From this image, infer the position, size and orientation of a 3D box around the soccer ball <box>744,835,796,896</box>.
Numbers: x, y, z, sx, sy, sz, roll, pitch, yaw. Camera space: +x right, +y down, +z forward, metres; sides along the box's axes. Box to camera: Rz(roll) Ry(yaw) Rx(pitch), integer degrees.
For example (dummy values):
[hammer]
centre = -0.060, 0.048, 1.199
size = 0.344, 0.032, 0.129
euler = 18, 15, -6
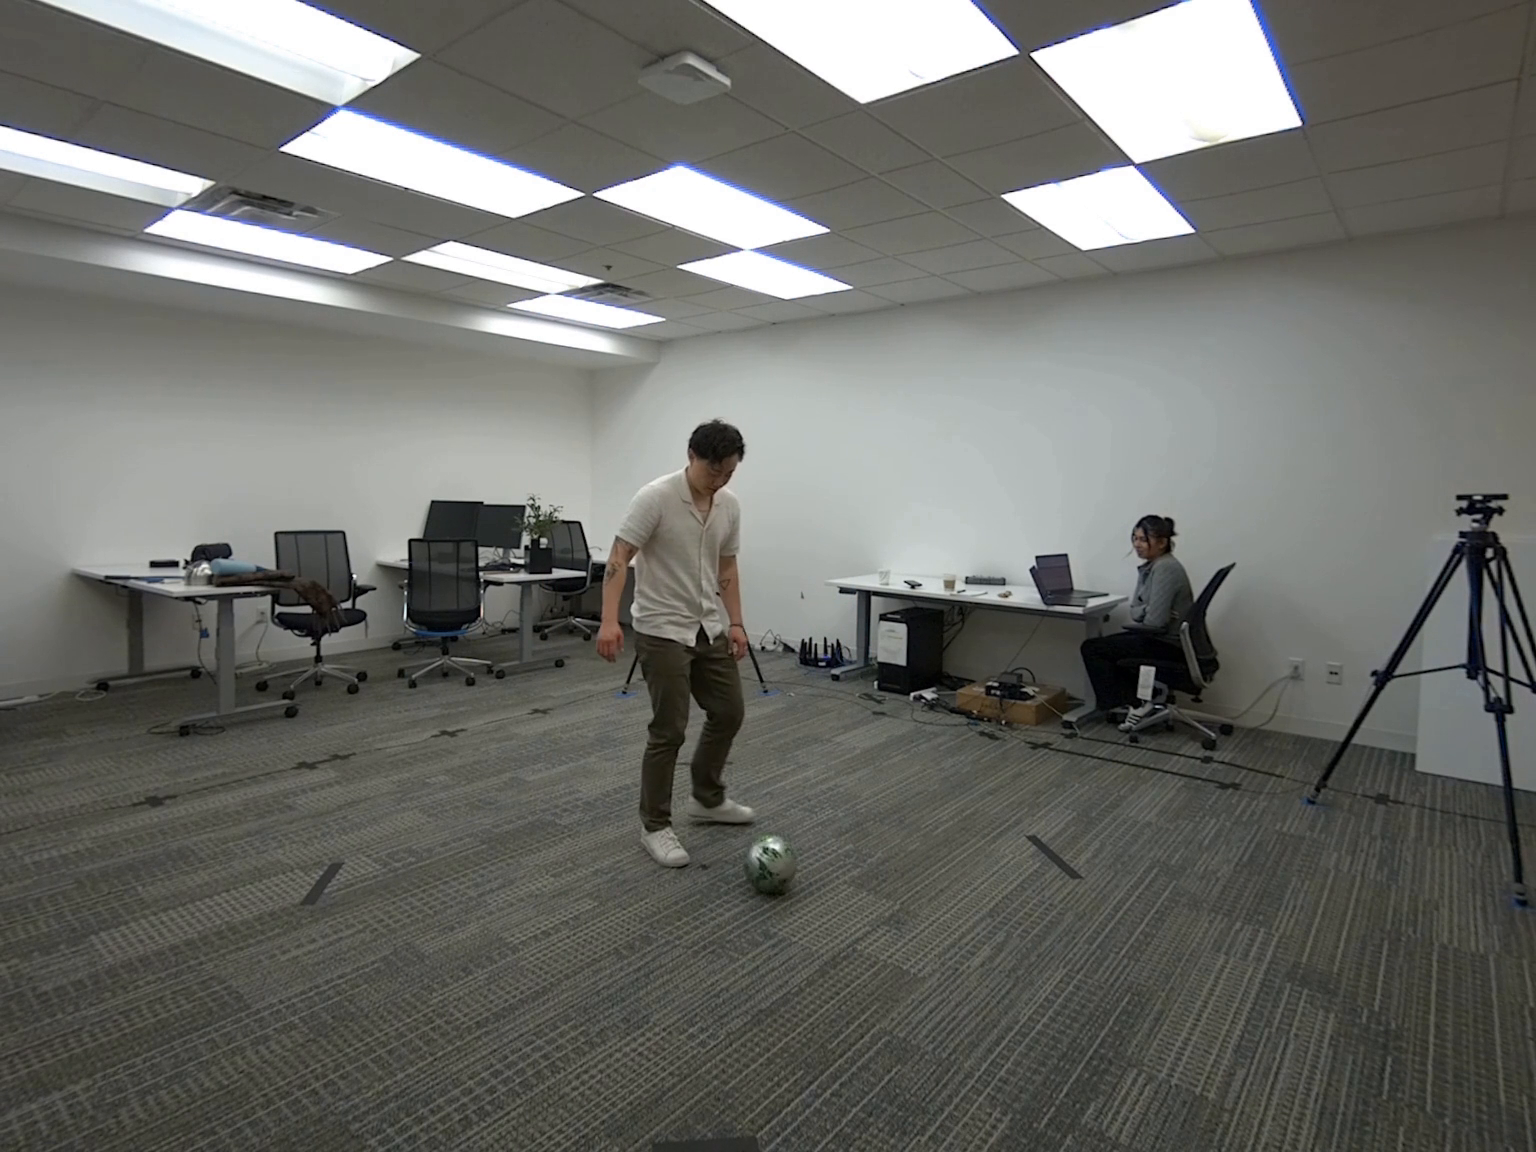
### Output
[soccer ball]
centre = -0.001, 0.992, 2.943
size = 0.187, 0.187, 0.188
euler = 1, 4, -2
